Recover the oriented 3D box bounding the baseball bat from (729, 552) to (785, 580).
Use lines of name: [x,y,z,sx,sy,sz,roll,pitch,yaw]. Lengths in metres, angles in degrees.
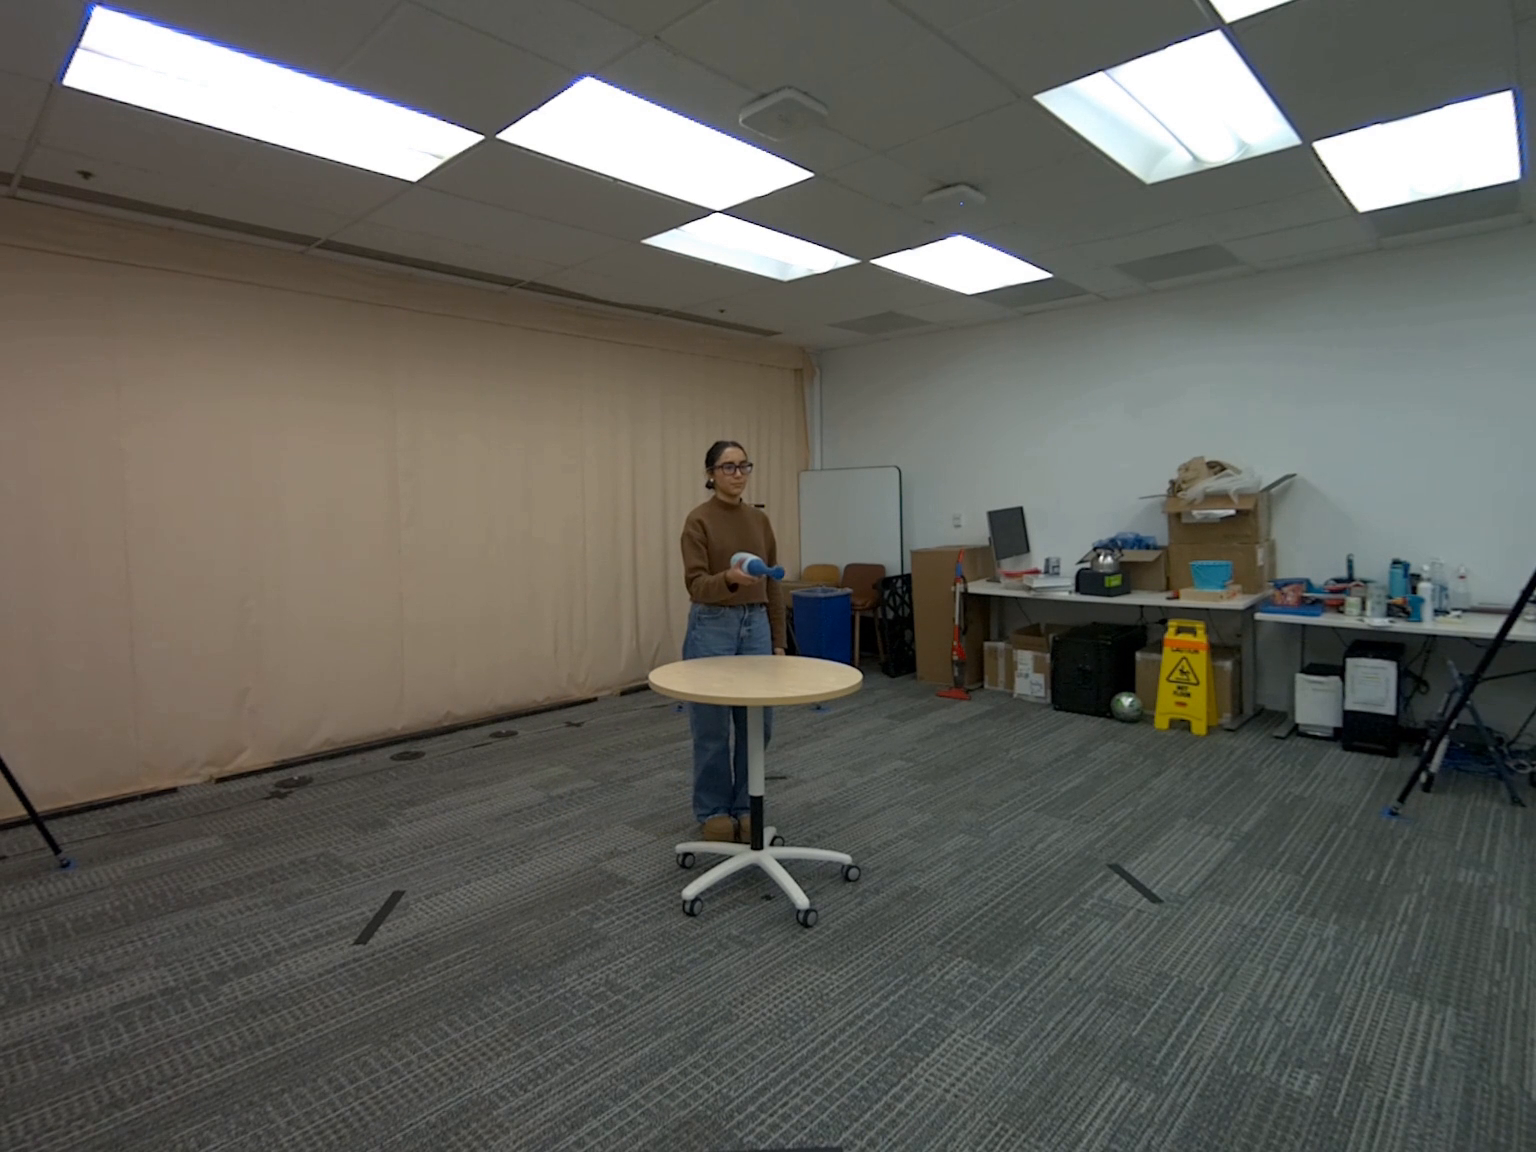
baseball bat: [-0.043,-0.022,3.039,0.087,0.089,0.553,-2,4,-17]
